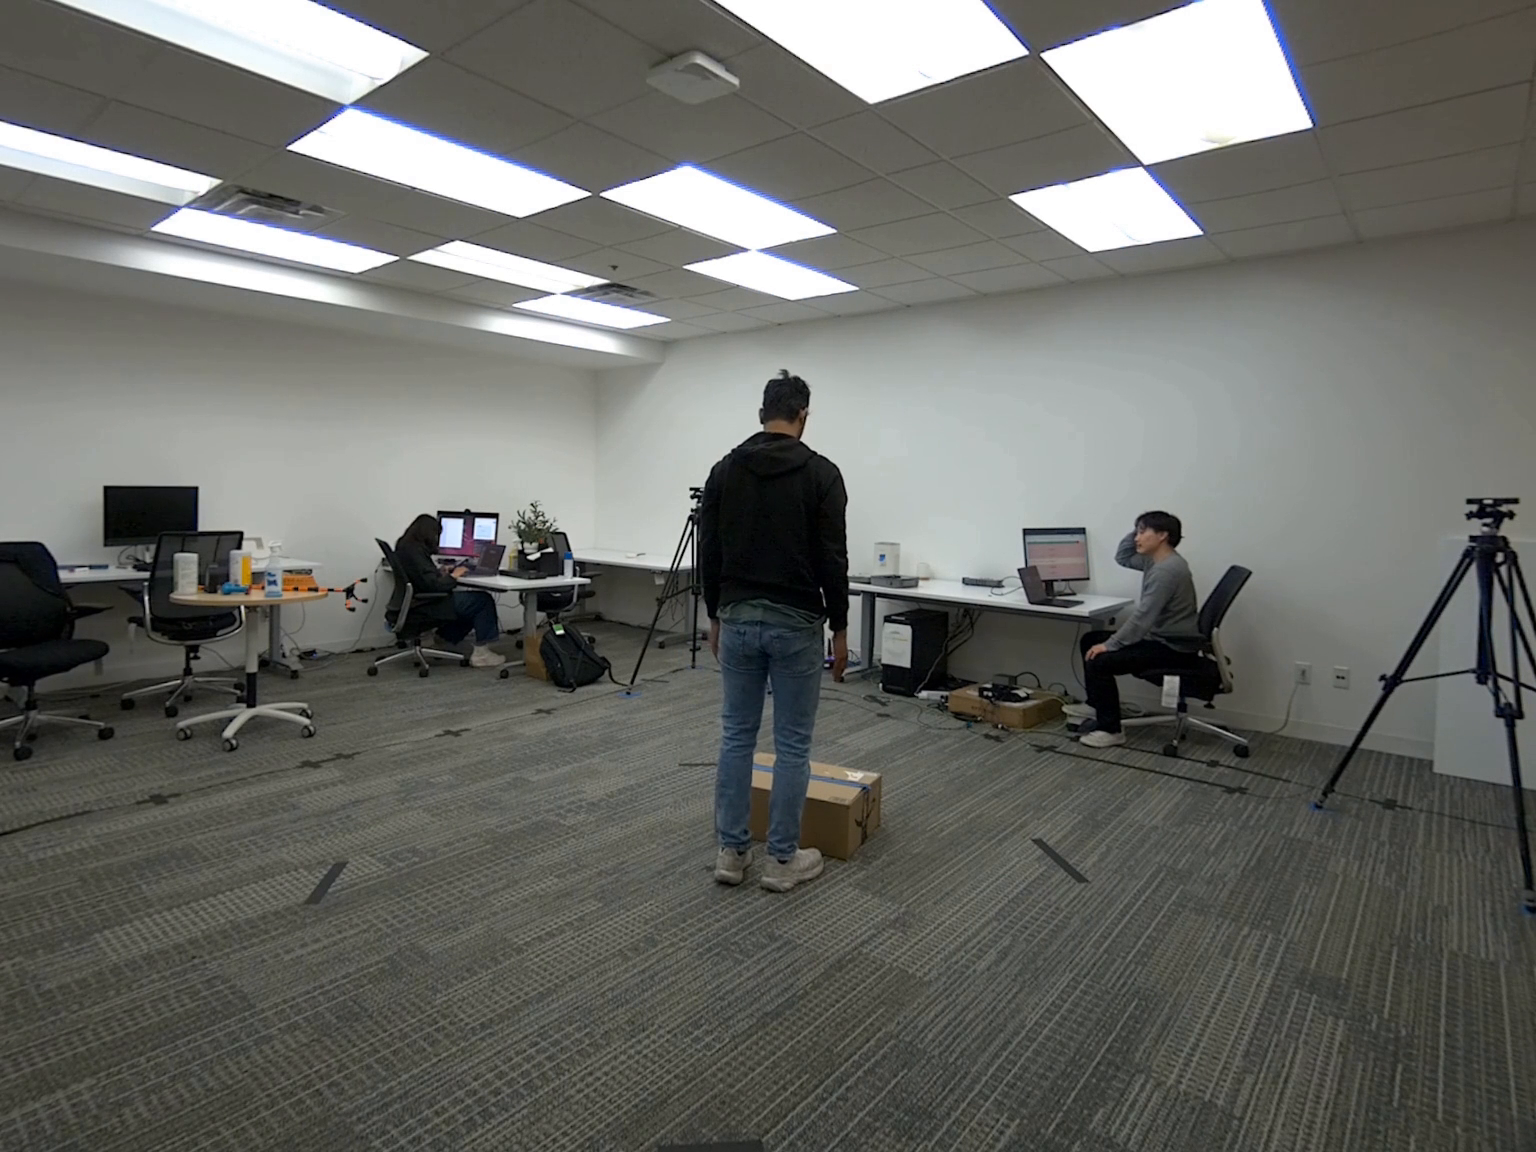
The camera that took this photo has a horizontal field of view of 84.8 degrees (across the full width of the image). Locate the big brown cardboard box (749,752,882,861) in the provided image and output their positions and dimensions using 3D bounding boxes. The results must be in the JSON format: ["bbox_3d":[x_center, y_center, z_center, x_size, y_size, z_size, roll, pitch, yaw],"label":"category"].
[{"bbox_3d":[0.126,0.923,3.492,0.604,0.232,0.408,3,5,25],"label":"big brown cardboard box"}]
